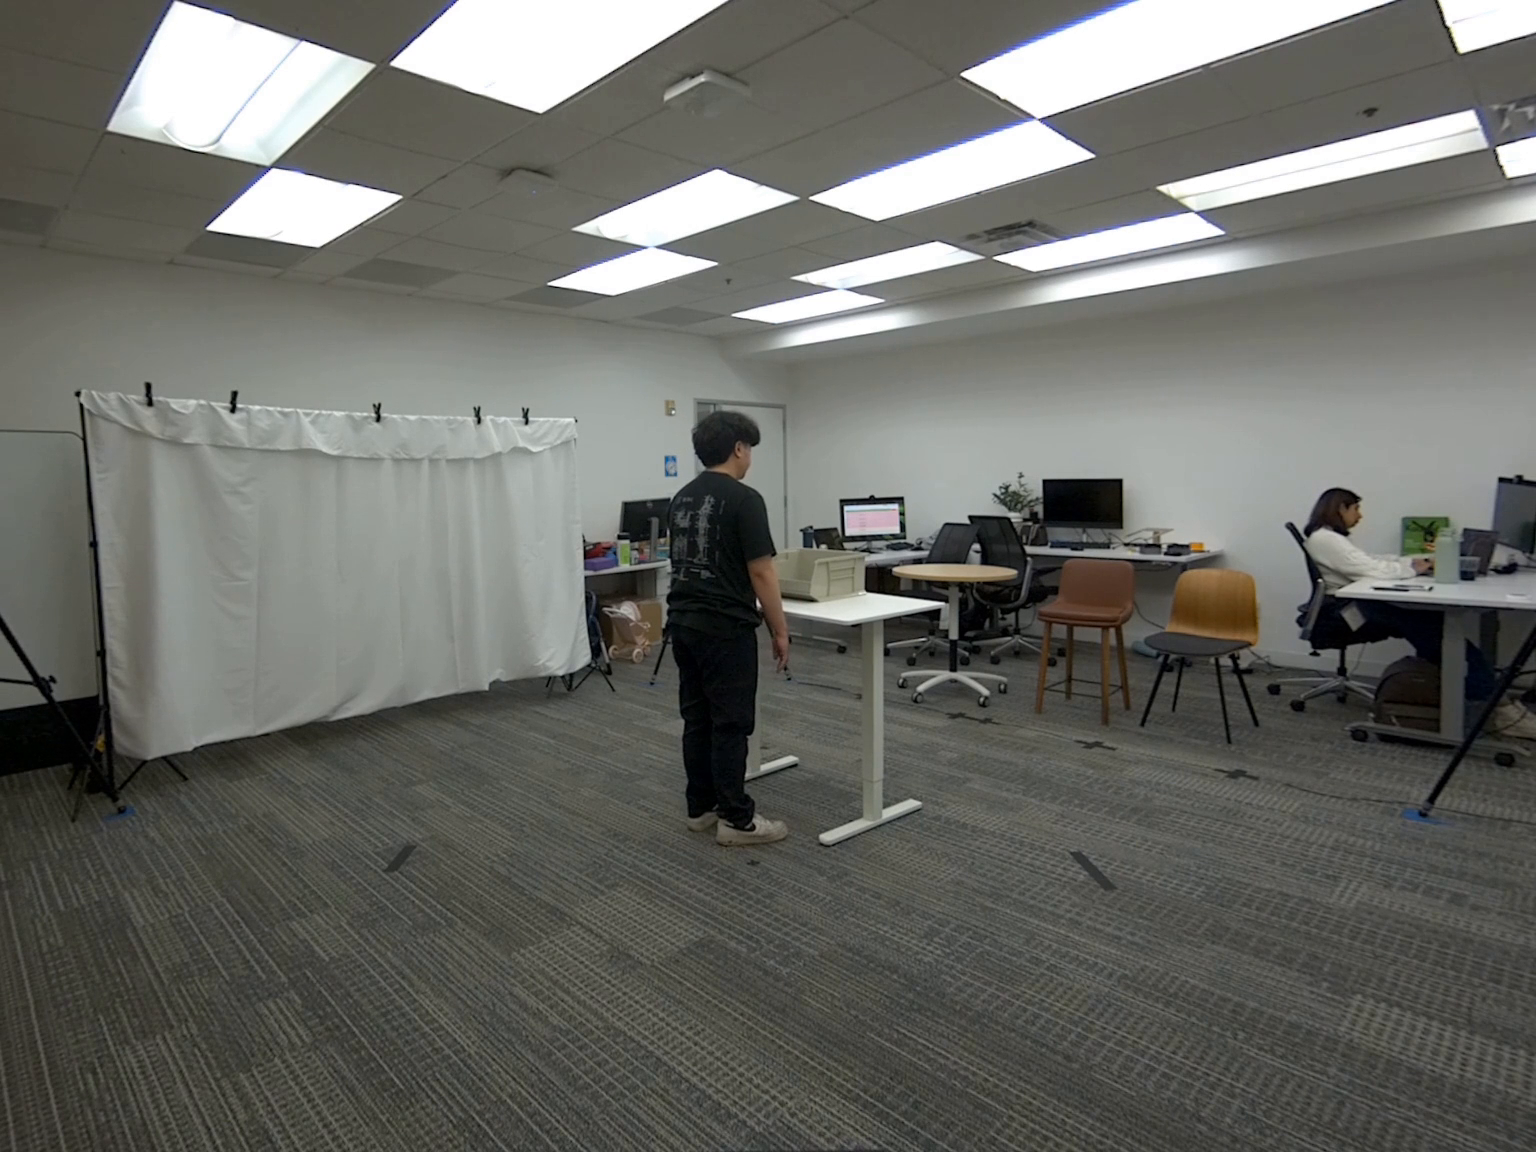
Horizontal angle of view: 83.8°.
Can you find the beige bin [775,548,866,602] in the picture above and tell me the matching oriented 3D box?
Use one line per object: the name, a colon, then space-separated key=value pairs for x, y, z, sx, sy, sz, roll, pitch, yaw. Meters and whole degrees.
beige bin: x=0.161 y=-0.005 z=3.746 sx=0.367 sy=0.188 sz=0.435 roll=-6 pitch=8 yaw=-43
